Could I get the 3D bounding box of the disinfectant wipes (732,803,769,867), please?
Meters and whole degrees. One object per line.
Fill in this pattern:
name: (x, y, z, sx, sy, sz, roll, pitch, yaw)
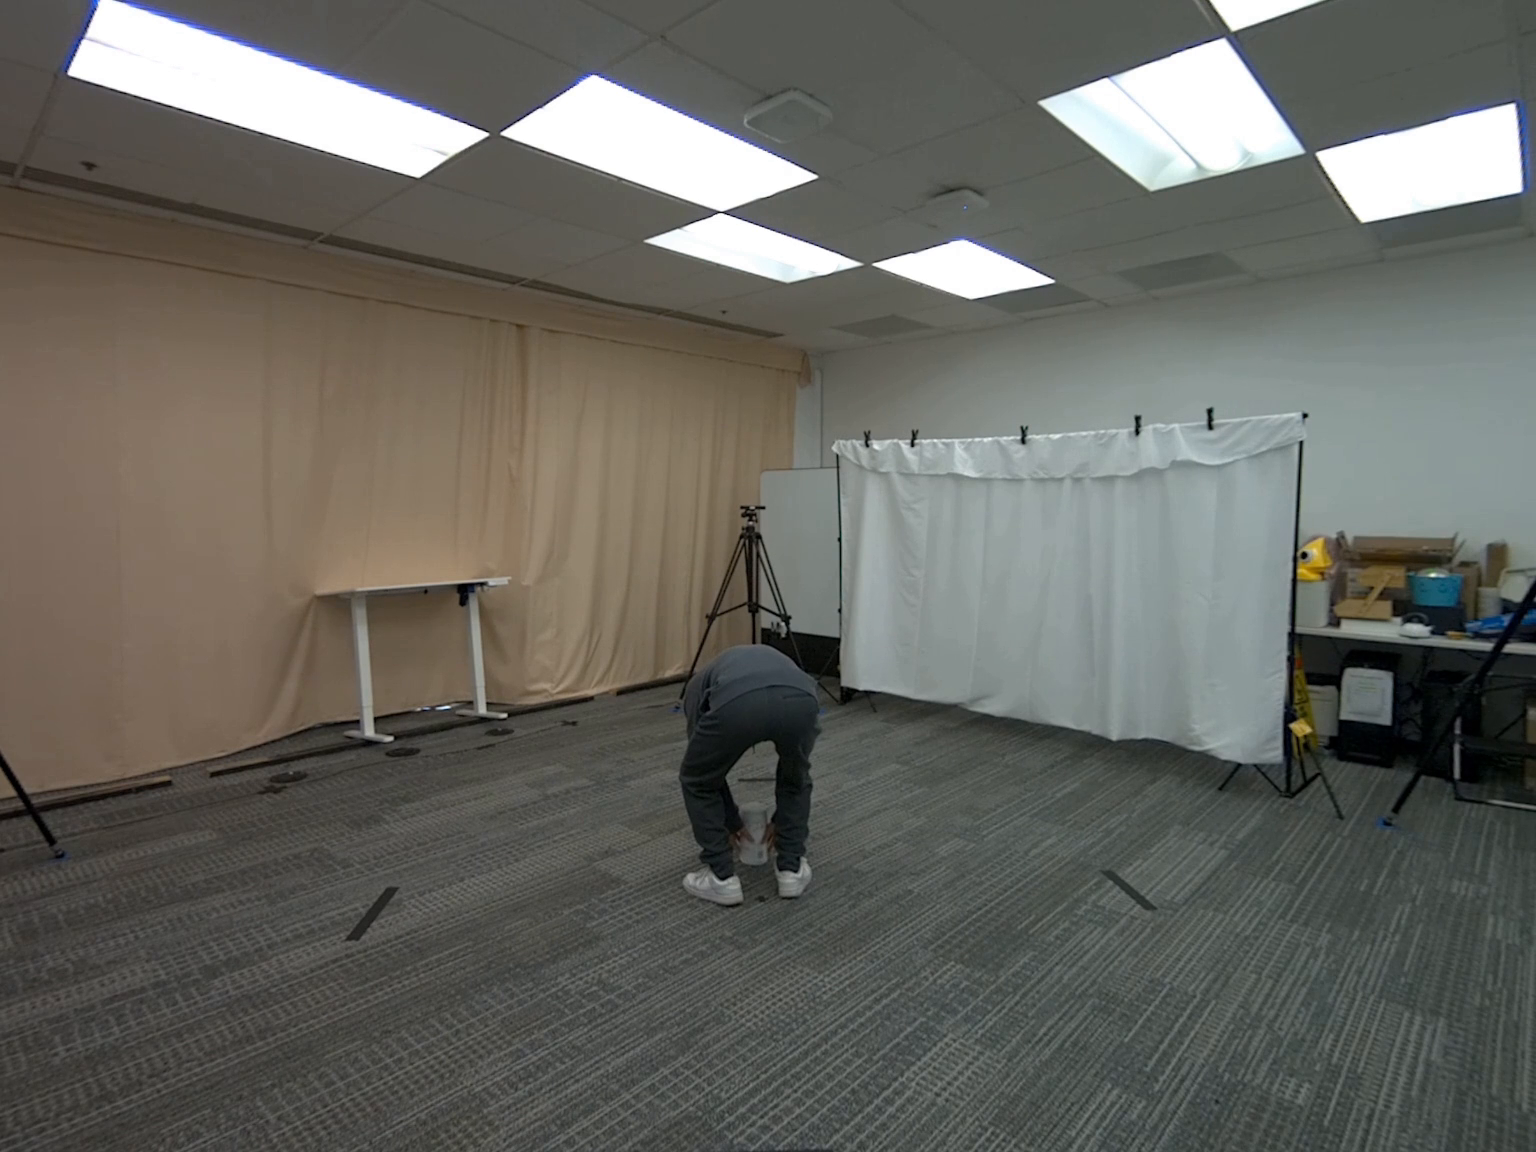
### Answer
disinfectant wipes: (-0.048, 1.015, 3.307, 0.118, 0.217, 0.118, 0, 1, -2)
